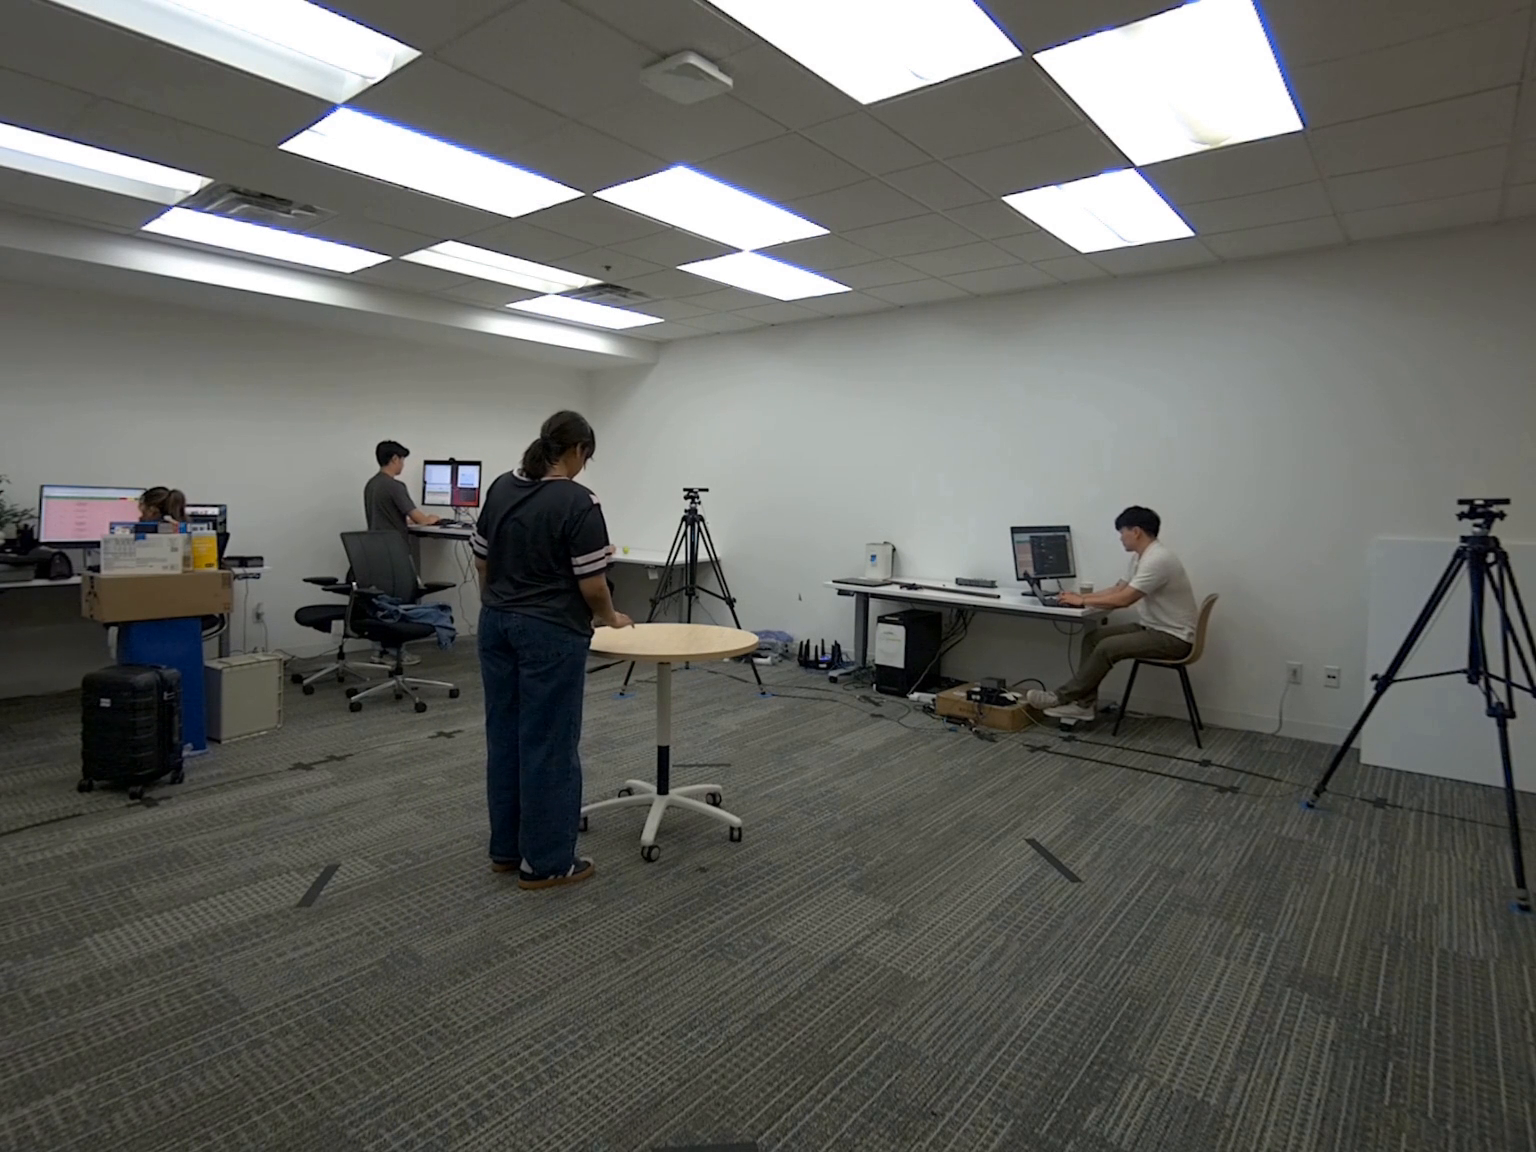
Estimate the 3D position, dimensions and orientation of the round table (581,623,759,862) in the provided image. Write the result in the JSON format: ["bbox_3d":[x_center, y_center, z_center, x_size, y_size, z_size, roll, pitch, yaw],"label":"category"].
[{"bbox_3d":[-0.450,0.636,3.479,0.784,0.784,0.788,1,4,-2],"label":"round table"}]
